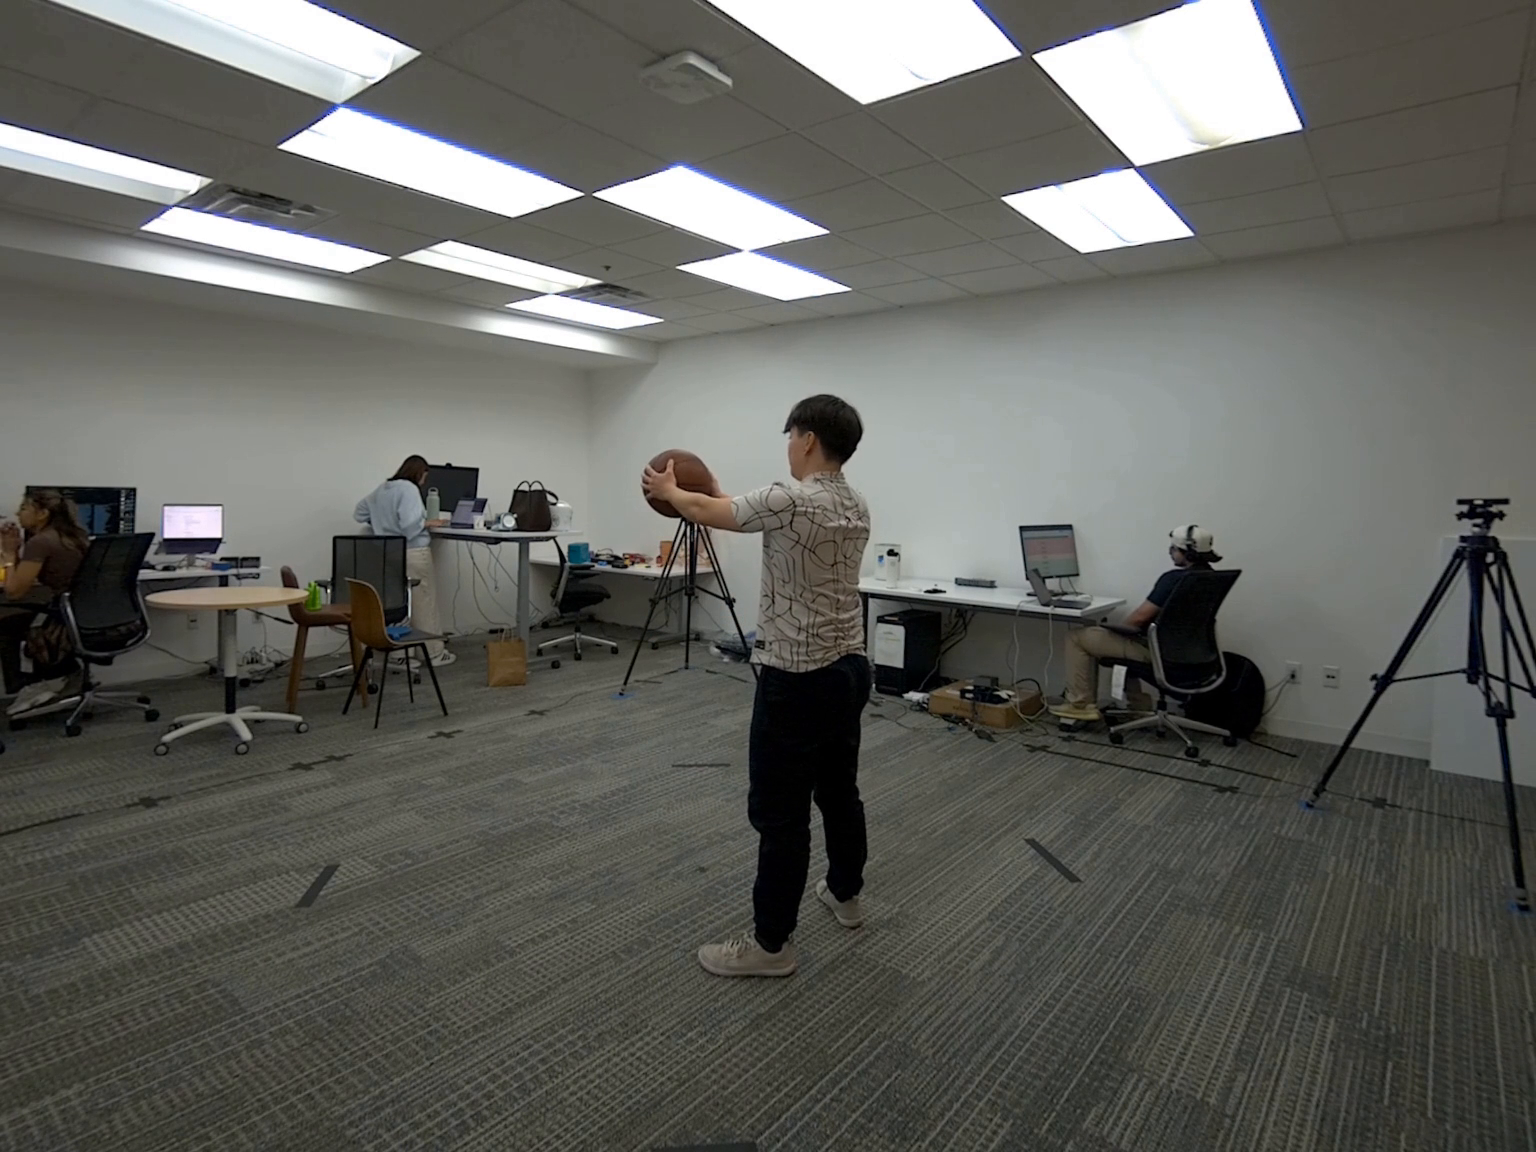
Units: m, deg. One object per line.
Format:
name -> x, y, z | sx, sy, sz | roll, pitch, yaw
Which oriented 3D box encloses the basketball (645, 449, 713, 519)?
basketball -> -0.324, -0.322, 2.953 | 0.235, 0.235, 0.237 | 1, 4, -2
